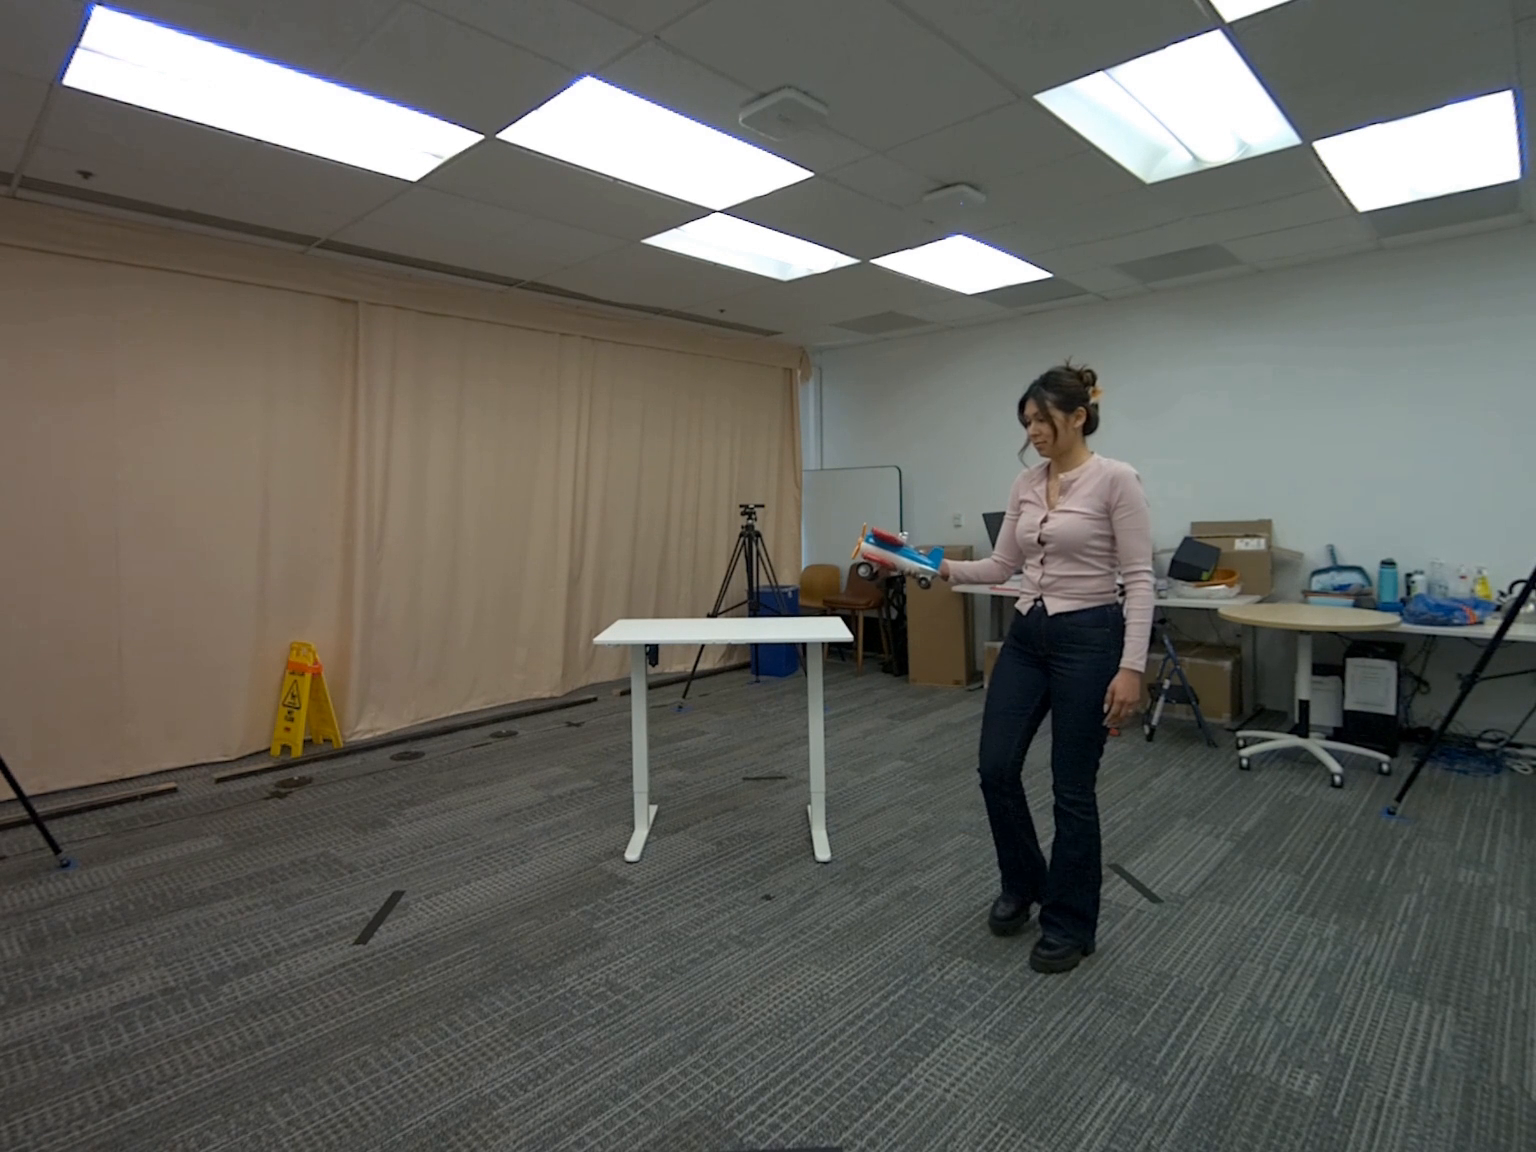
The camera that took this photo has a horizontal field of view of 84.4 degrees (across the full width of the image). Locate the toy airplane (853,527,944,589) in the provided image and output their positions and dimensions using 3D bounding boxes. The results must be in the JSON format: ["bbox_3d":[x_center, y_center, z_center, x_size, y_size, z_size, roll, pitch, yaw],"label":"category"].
[{"bbox_3d":[0.398,-0.048,2.568,0.257,0.157,0.252,10,-4,-7],"label":"toy airplane"}]
